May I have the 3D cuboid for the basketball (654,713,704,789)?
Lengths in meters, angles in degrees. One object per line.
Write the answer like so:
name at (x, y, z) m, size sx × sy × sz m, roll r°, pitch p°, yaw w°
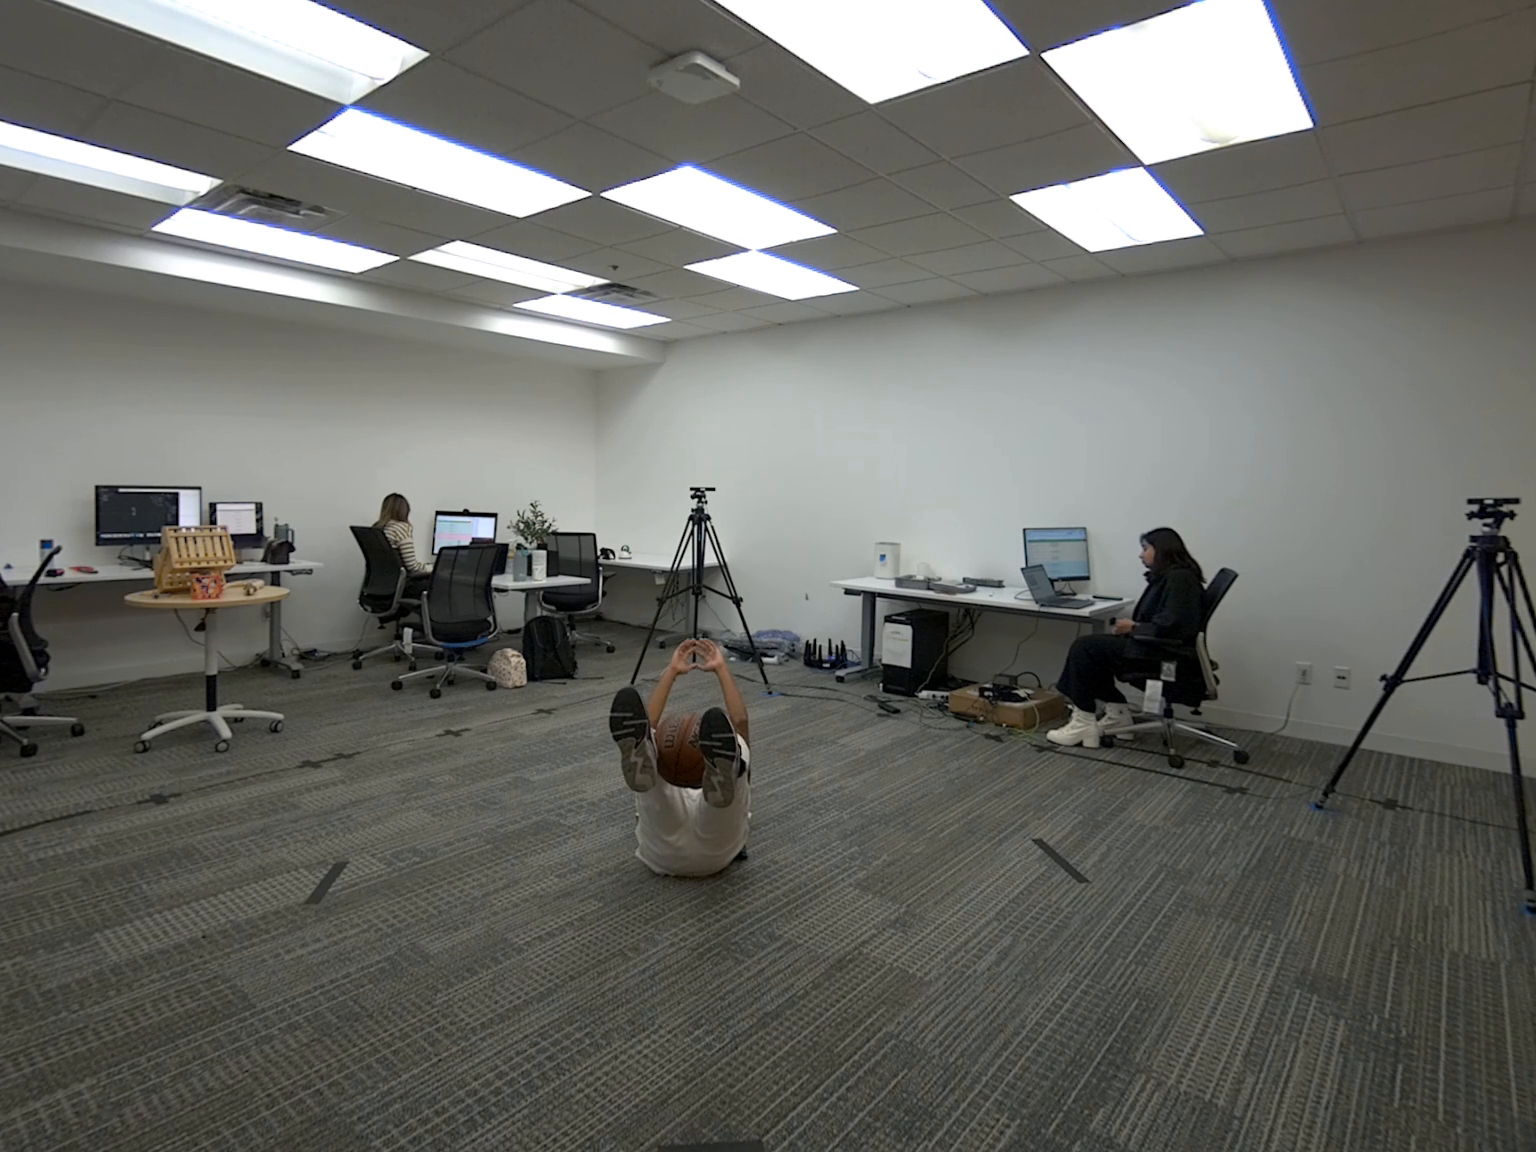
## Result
basketball at (-0.269, 0.558, 2.748) m, size 0.235 × 0.235 × 0.237 m, roll 1°, pitch 4°, yaw -2°
